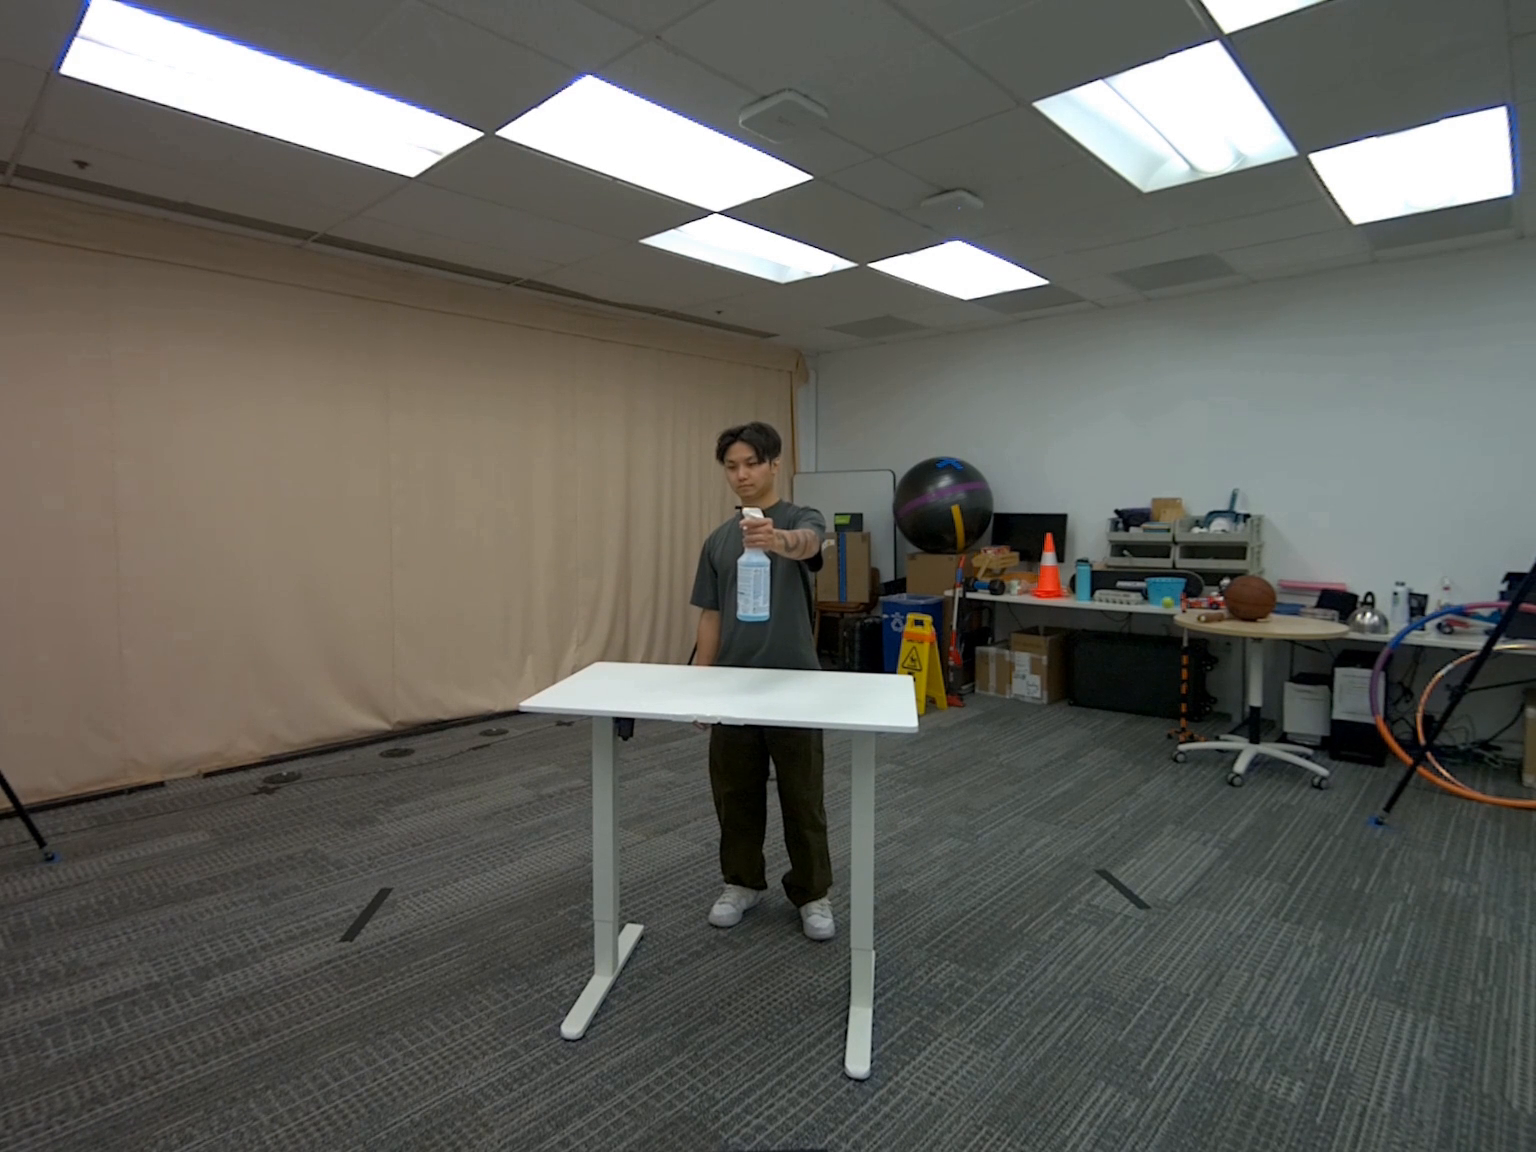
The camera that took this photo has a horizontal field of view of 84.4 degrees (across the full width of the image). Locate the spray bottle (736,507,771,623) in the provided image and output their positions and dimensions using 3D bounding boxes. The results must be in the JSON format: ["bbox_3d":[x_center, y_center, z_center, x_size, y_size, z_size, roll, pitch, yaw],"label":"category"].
[{"bbox_3d":[-0.036,-0.029,2.237,0.087,0.296,0.090,-3,6,-33],"label":"spray bottle"}]
